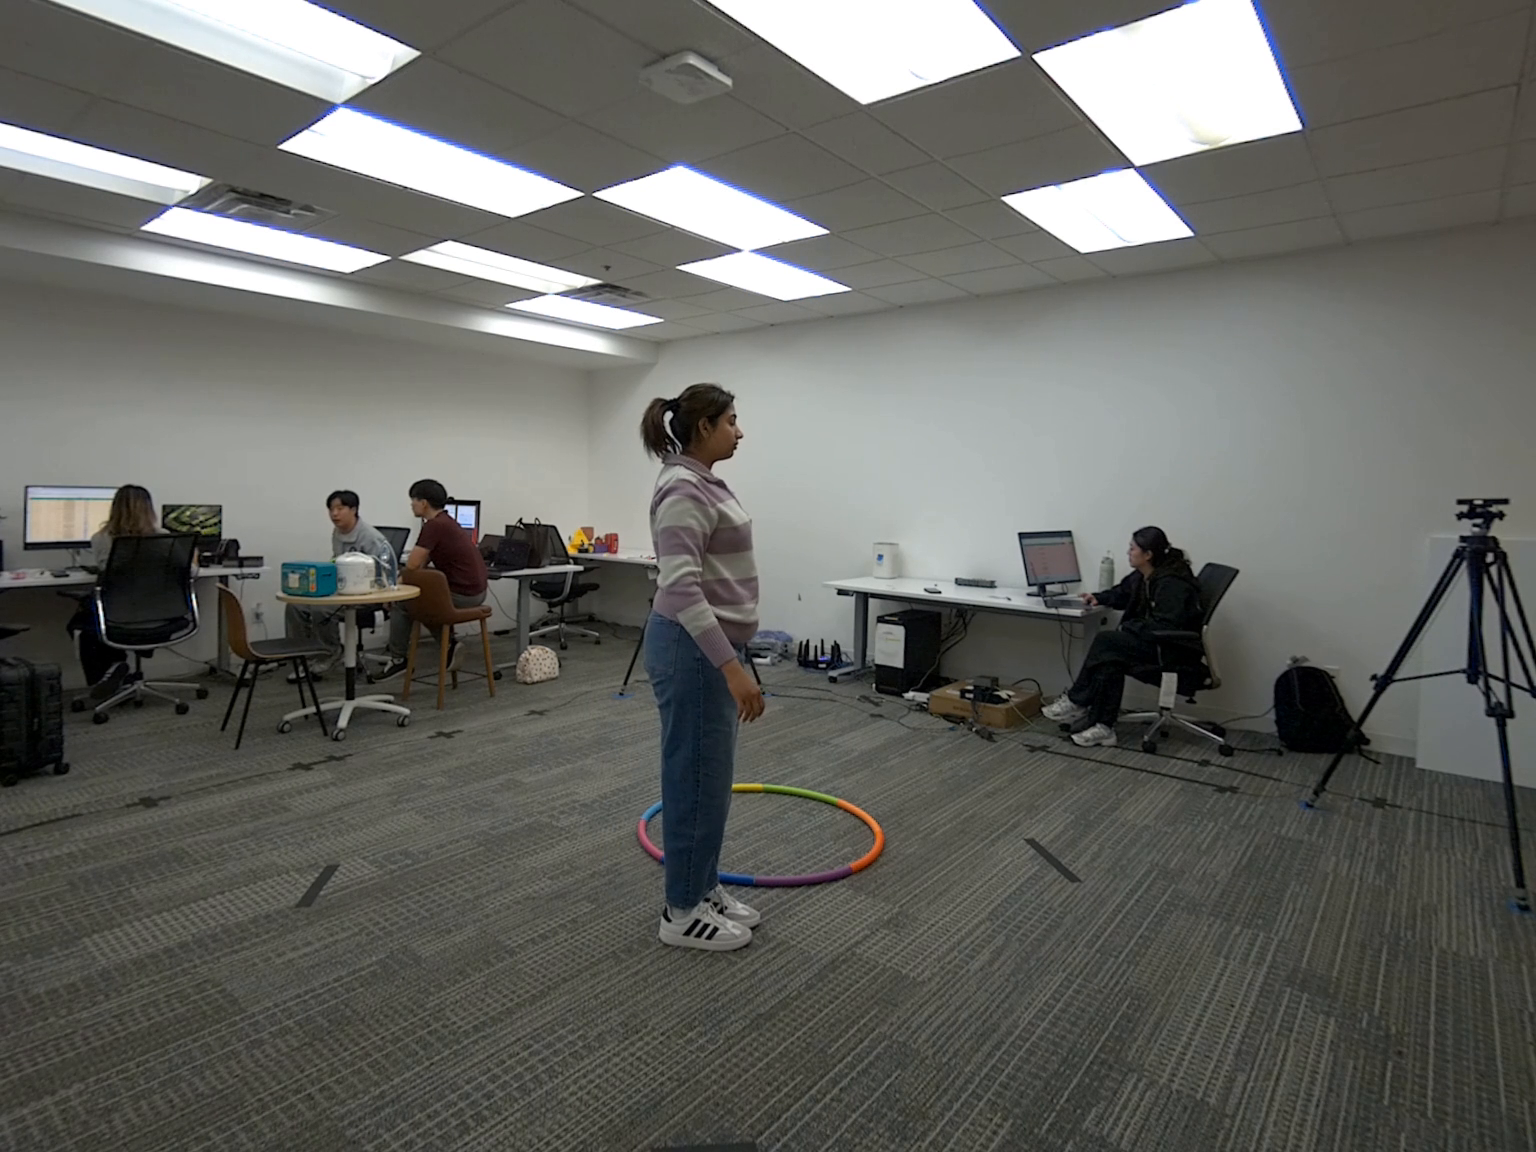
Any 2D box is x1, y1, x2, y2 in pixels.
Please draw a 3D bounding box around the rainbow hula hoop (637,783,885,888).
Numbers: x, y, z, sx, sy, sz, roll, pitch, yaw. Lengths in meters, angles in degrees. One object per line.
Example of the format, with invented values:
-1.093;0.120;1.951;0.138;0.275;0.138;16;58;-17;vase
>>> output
-0.043;1.010;3.455;0.978;0.035;0.984;1;6;-2;rainbow hula hoop
